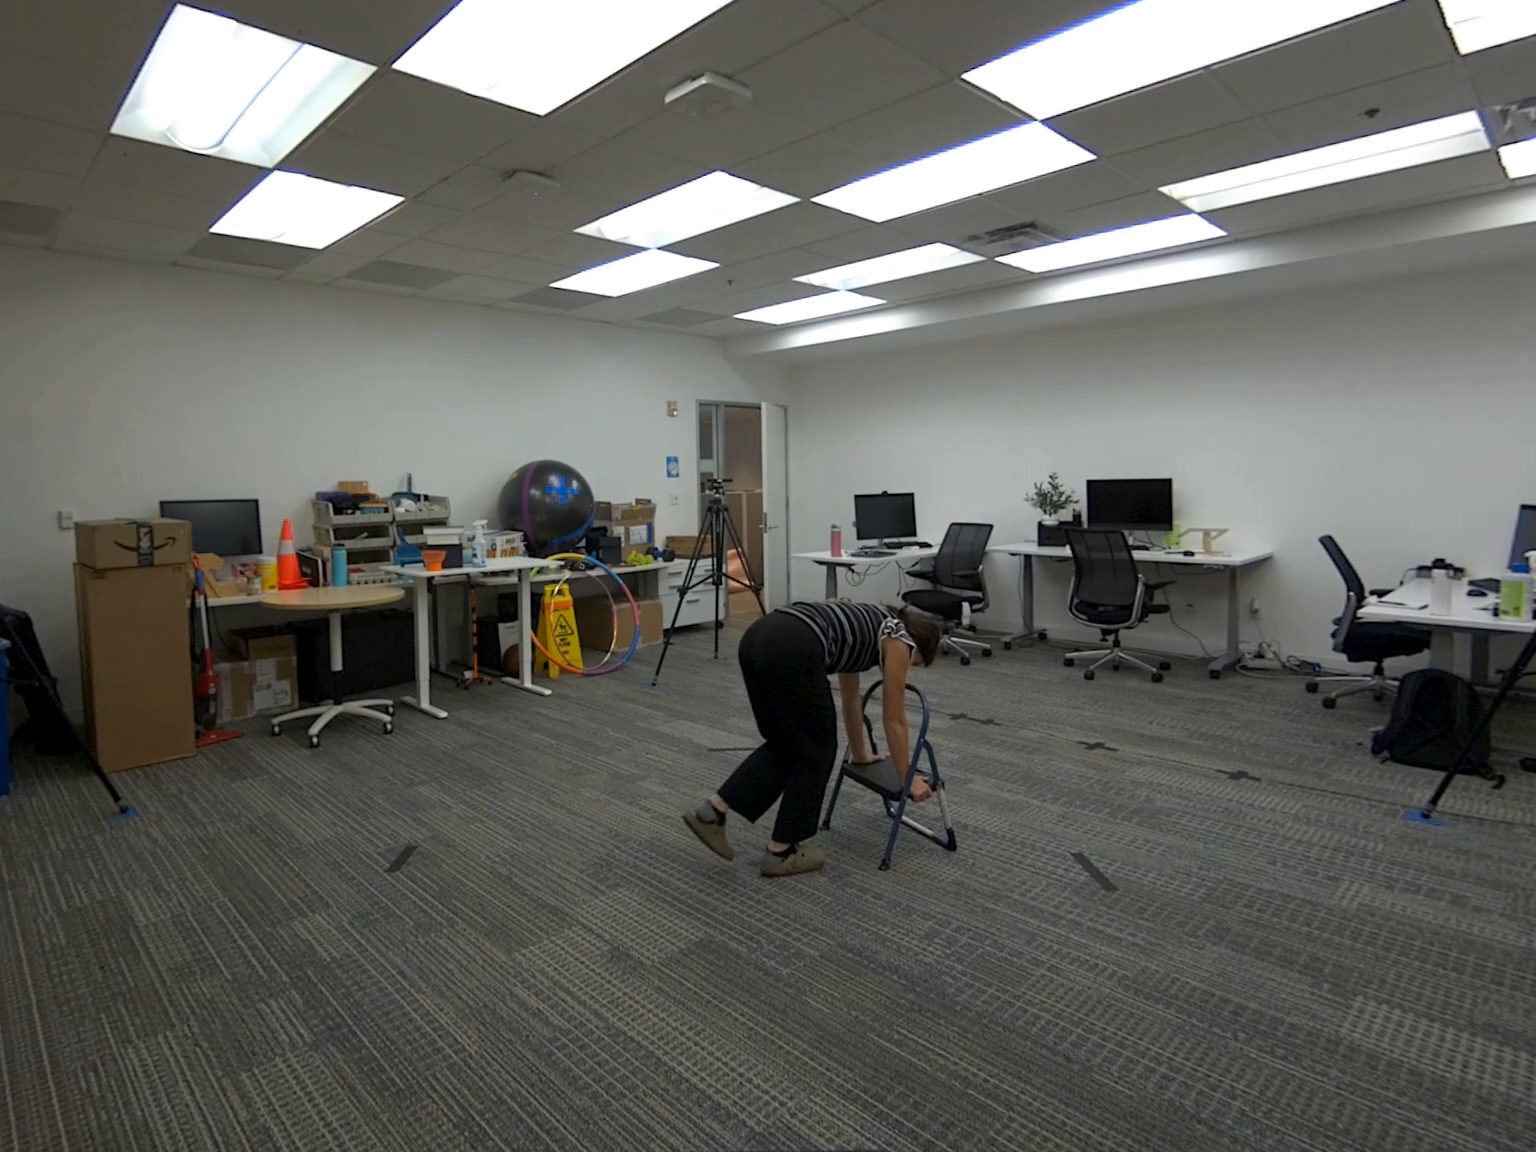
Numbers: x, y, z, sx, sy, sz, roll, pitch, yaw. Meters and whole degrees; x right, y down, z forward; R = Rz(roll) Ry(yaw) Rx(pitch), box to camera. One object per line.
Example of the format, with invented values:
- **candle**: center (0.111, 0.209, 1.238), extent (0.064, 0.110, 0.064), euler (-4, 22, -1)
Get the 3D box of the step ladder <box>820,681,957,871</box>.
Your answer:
- **step ladder**: center (0.455, 0.717, 3.281), extent (0.341, 0.604, 0.442), euler (-3, 5, -28)
